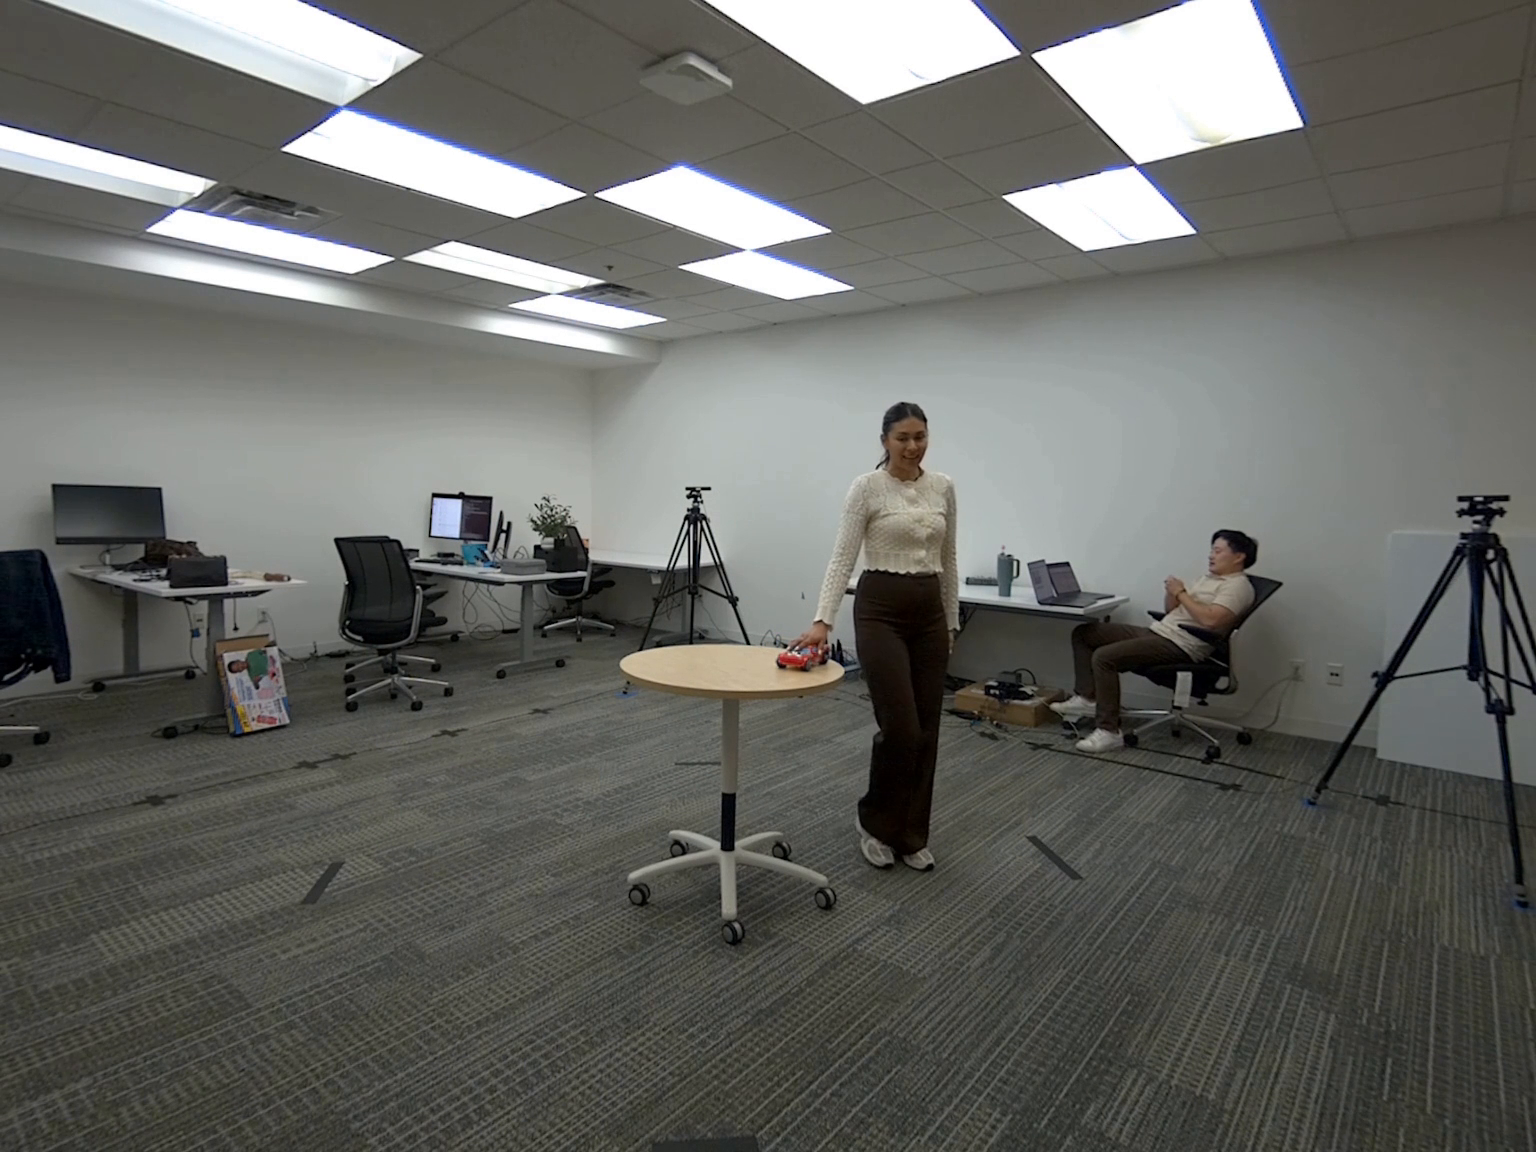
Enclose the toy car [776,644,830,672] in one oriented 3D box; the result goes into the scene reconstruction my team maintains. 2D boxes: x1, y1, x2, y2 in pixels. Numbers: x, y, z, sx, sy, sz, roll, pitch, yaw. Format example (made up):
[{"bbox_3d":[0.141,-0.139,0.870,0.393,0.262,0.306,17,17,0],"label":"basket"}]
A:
[{"bbox_3d":[0.122,0.275,2.942,0.134,0.082,0.251,4,17,27],"label":"toy car"}]
